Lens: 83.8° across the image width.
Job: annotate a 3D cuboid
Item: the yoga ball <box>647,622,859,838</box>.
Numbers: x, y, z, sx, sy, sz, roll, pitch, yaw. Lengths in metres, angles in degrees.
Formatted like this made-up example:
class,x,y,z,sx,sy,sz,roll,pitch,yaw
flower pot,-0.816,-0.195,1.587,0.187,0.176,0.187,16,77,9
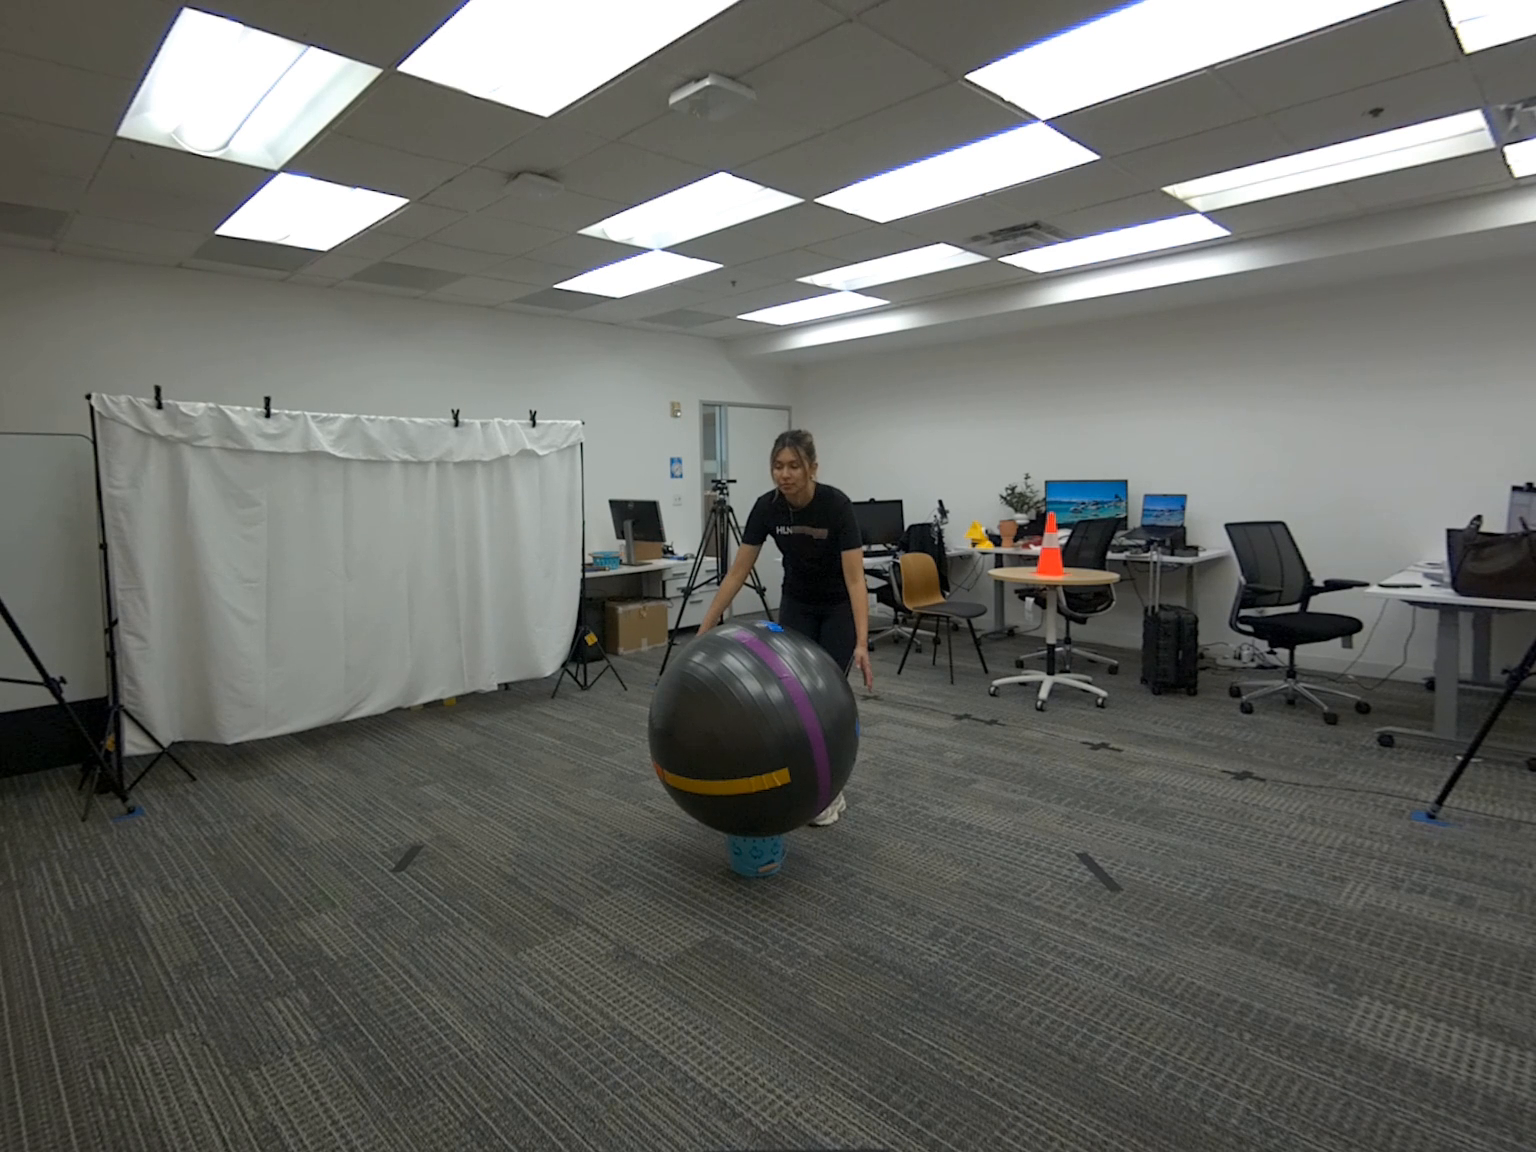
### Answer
class,x,y,z,sx,sy,sz,roll,pitch,yaw
yoga ball,-0.054,0.541,3.068,0.757,0.755,0.762,-1,5,-2
